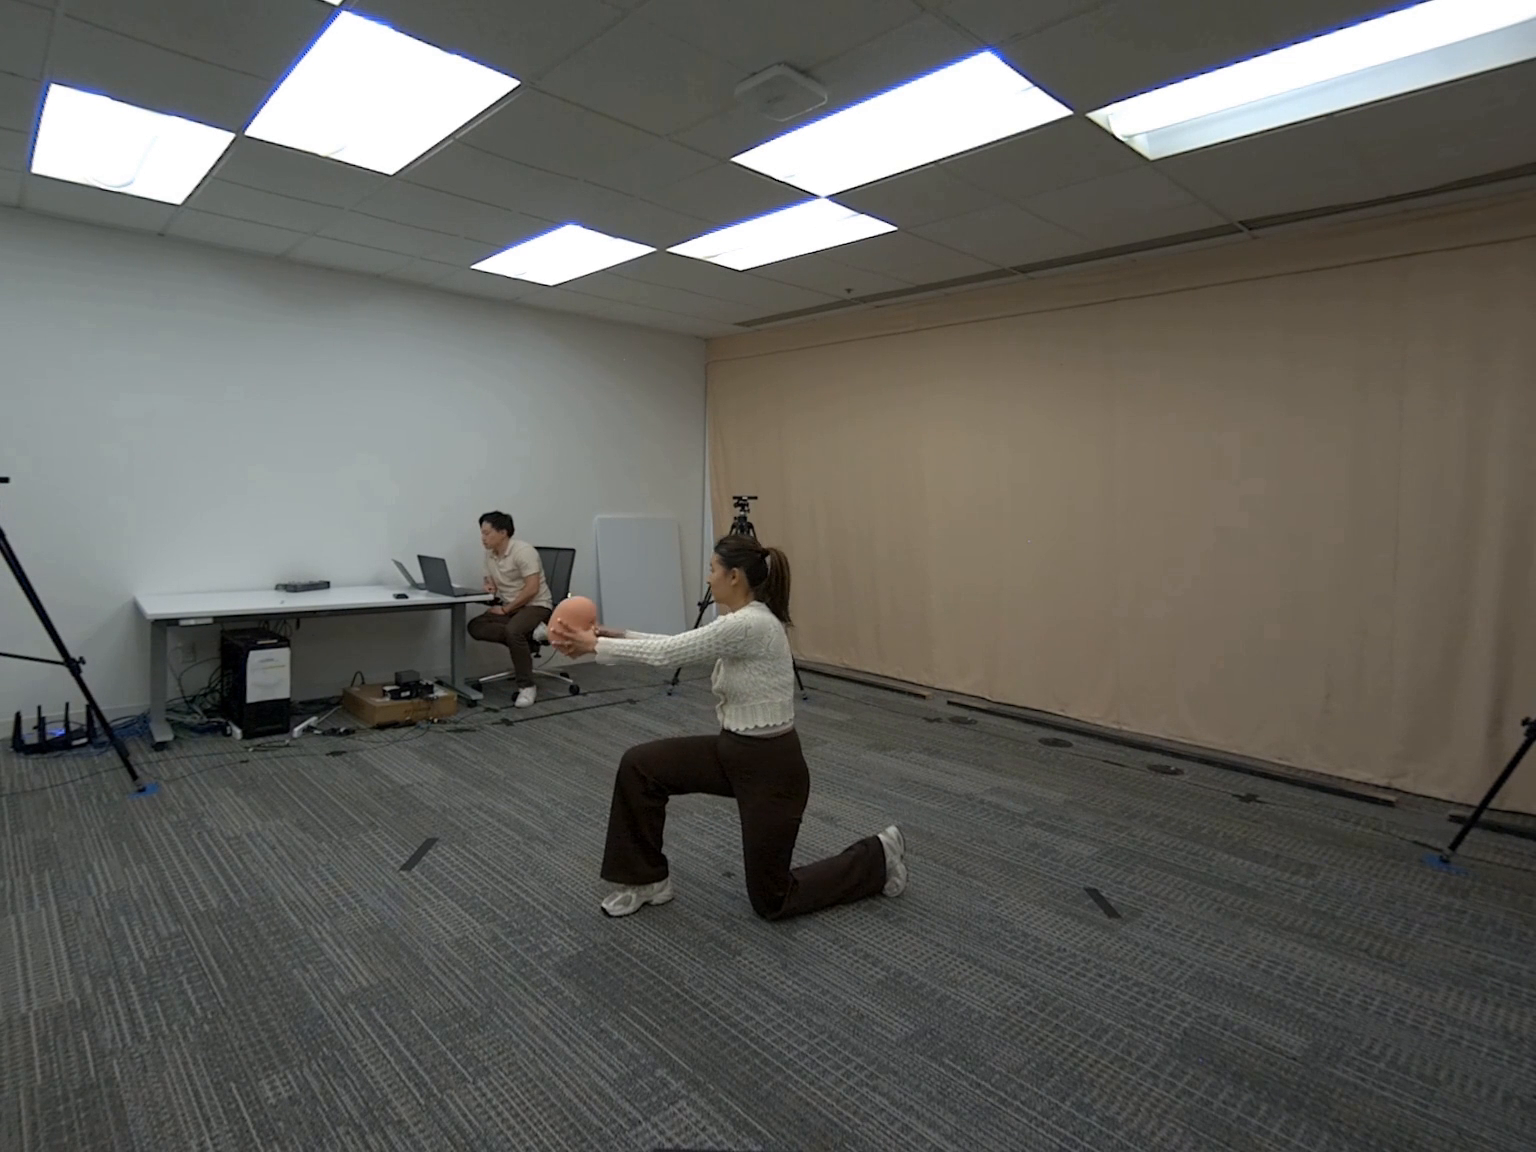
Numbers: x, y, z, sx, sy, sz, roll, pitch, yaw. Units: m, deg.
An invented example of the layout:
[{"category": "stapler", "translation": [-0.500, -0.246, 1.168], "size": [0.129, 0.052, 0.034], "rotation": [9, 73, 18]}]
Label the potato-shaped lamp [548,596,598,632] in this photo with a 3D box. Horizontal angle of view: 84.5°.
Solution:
[{"category": "potato-shaped lamp", "translation": [-0.657, 0.171, 2.932], "size": [0.174, 0.197, 0.163], "rotation": [29, 8, 12]}]
